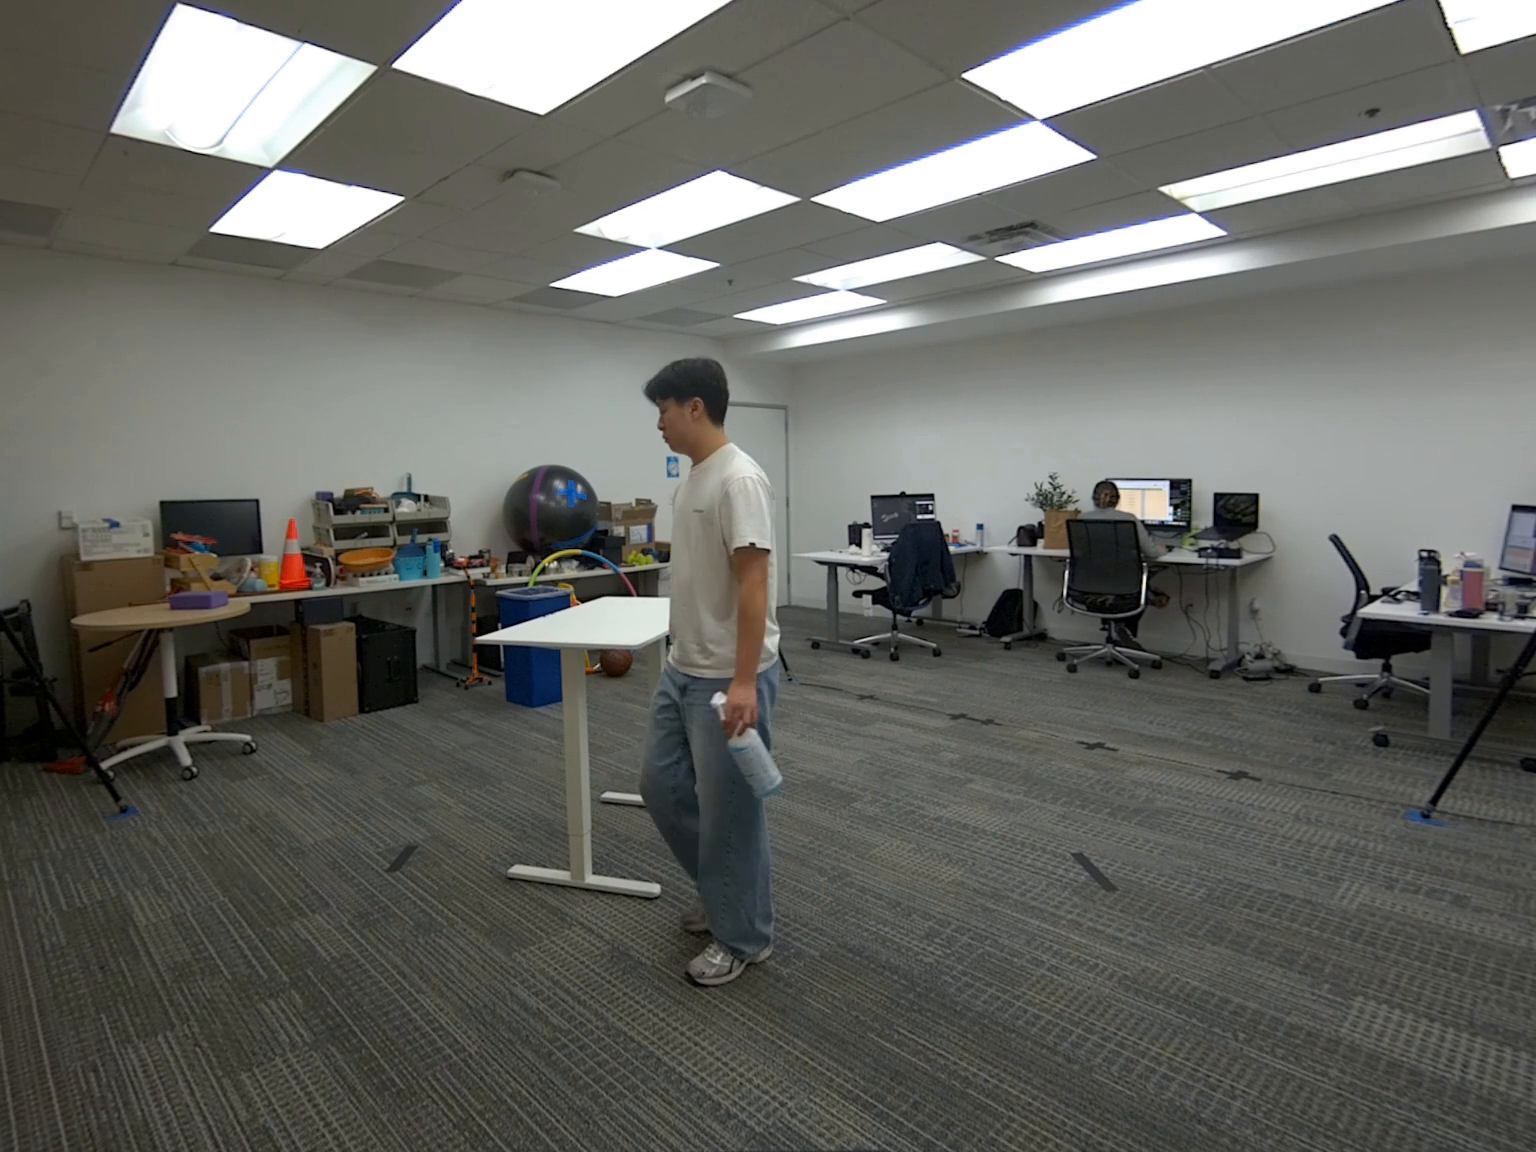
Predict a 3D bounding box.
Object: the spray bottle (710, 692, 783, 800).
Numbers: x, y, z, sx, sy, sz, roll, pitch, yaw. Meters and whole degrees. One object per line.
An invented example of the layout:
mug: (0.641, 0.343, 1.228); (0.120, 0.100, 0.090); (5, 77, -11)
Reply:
spray bottle: (-0.068, 0.432, 2.229); (0.088, 0.294, 0.089); (-19, 11, 38)
